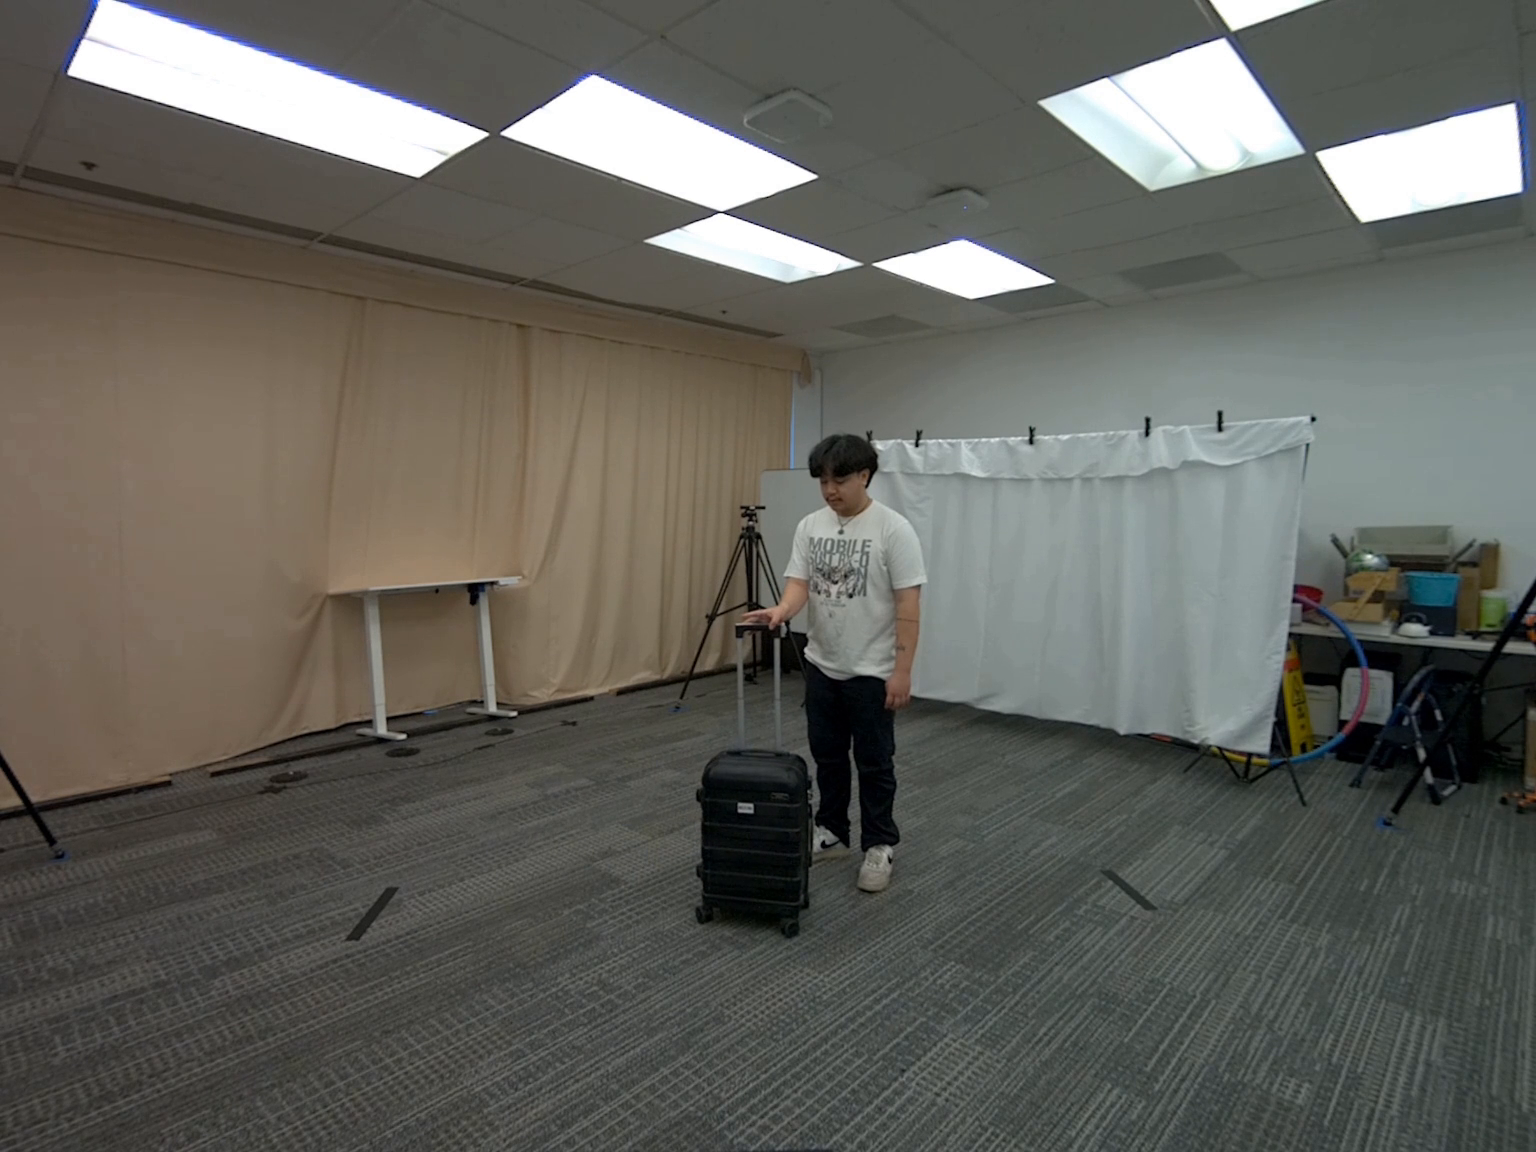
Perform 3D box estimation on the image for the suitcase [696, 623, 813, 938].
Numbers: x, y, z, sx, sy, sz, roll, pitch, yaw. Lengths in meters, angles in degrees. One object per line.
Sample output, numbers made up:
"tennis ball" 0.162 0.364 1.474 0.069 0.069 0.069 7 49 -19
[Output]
"suitcase" -0.039 0.682 2.850 0.389 0.976 0.254 0 4 12
